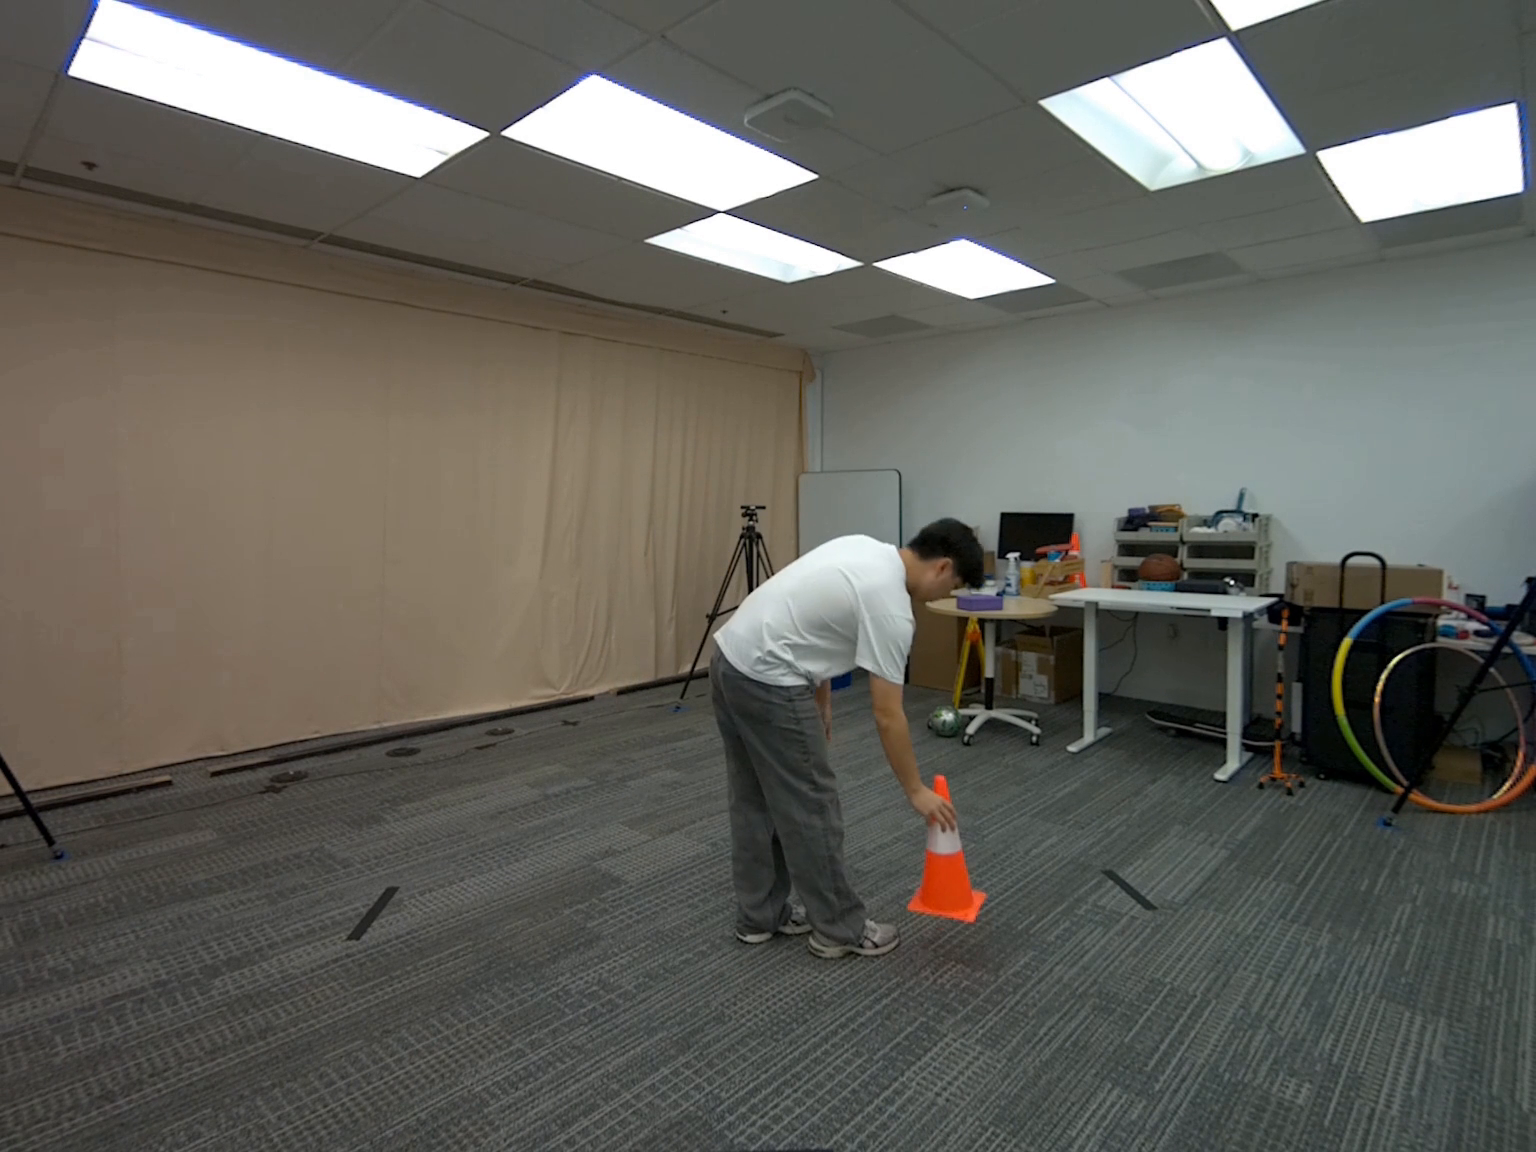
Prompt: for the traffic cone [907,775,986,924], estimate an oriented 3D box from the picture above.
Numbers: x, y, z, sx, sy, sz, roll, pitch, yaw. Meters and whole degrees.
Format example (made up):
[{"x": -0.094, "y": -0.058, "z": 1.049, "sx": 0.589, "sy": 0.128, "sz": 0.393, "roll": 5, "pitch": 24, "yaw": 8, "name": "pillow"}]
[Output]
[{"x": 0.535, "y": 0.794, "z": 2.547, "sx": 0.211, "sy": 0.383, "sz": 0.197, "roll": -3, "pitch": 1, "yaw": 34, "name": "traffic cone"}]
